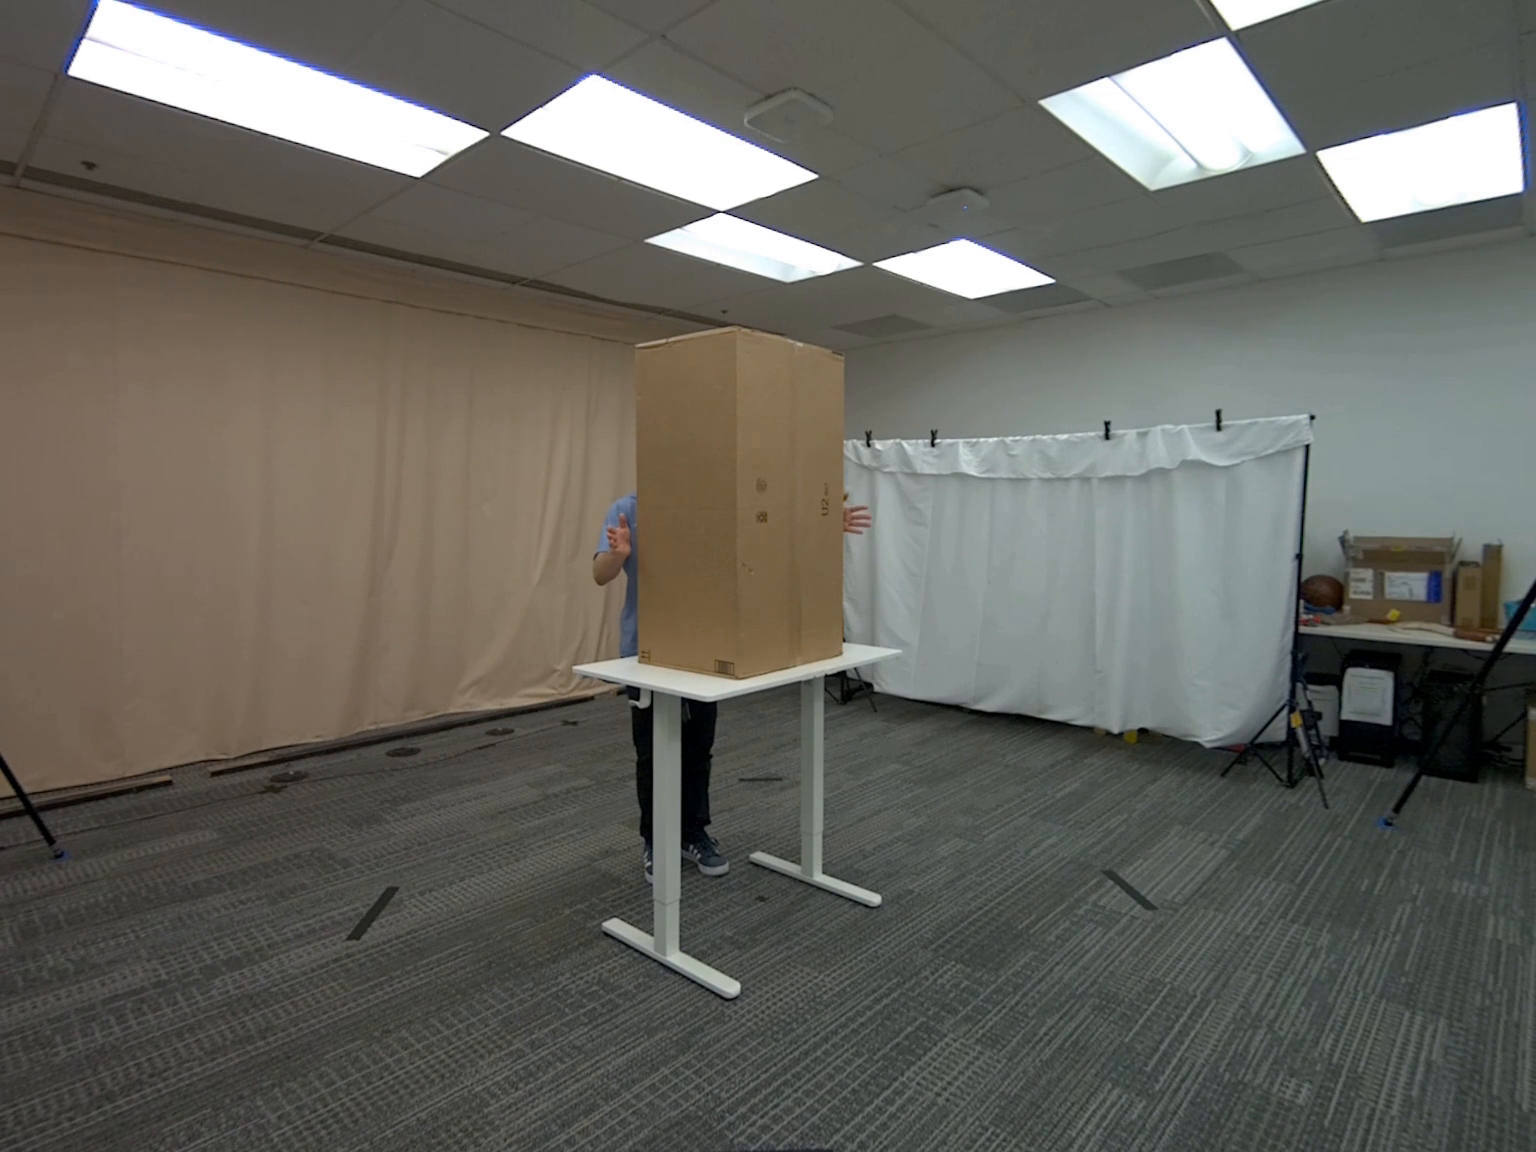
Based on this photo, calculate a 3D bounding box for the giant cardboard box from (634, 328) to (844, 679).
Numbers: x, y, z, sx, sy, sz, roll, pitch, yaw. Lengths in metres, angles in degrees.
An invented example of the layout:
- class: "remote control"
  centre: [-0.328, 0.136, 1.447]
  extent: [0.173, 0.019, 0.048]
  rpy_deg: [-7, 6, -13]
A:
- class: "giant cardboard box"
  centre: [-0.081, -0.229, 2.773]
  extent: [0.440, 1.024, 0.560]
  rpy_deg: [2, 4, 39]
